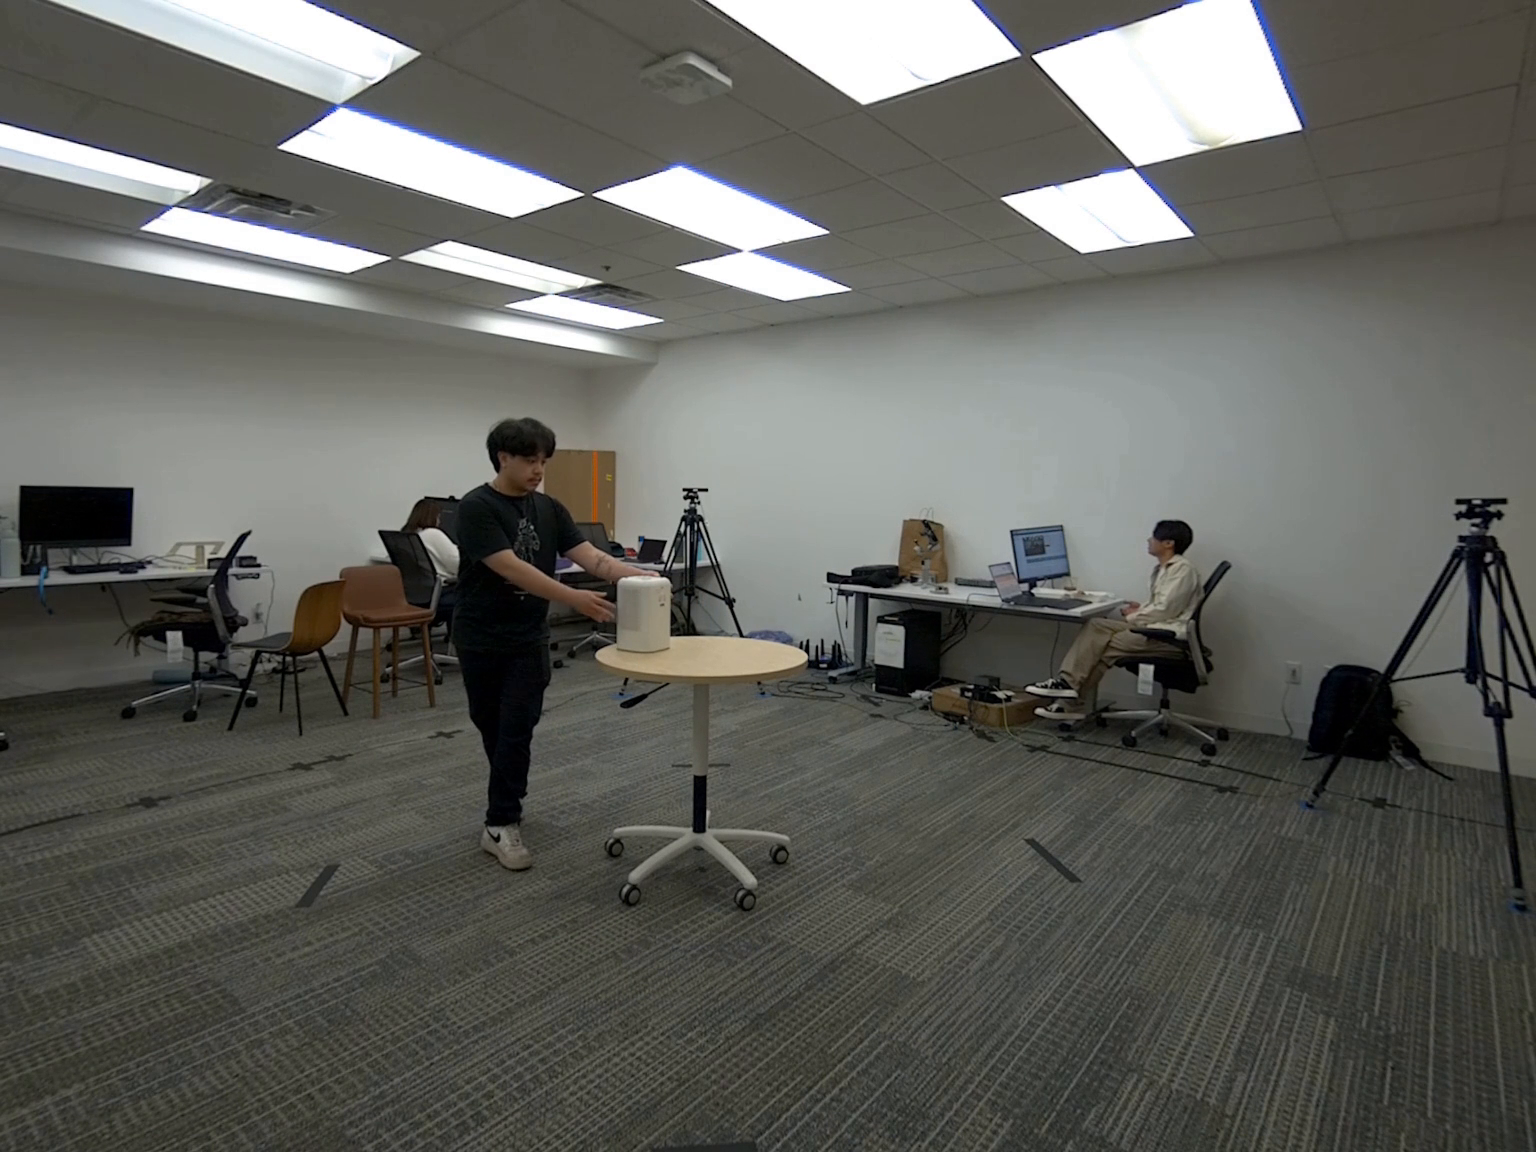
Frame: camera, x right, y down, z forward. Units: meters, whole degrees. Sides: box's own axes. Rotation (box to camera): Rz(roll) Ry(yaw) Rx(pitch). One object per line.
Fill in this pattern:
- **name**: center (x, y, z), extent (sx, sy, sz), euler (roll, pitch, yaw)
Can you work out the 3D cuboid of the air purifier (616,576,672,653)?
- **air purifier**: center (-0.474, 0.137, 3.166), extent (0.177, 0.265, 0.166), euler (3, 3, 31)
